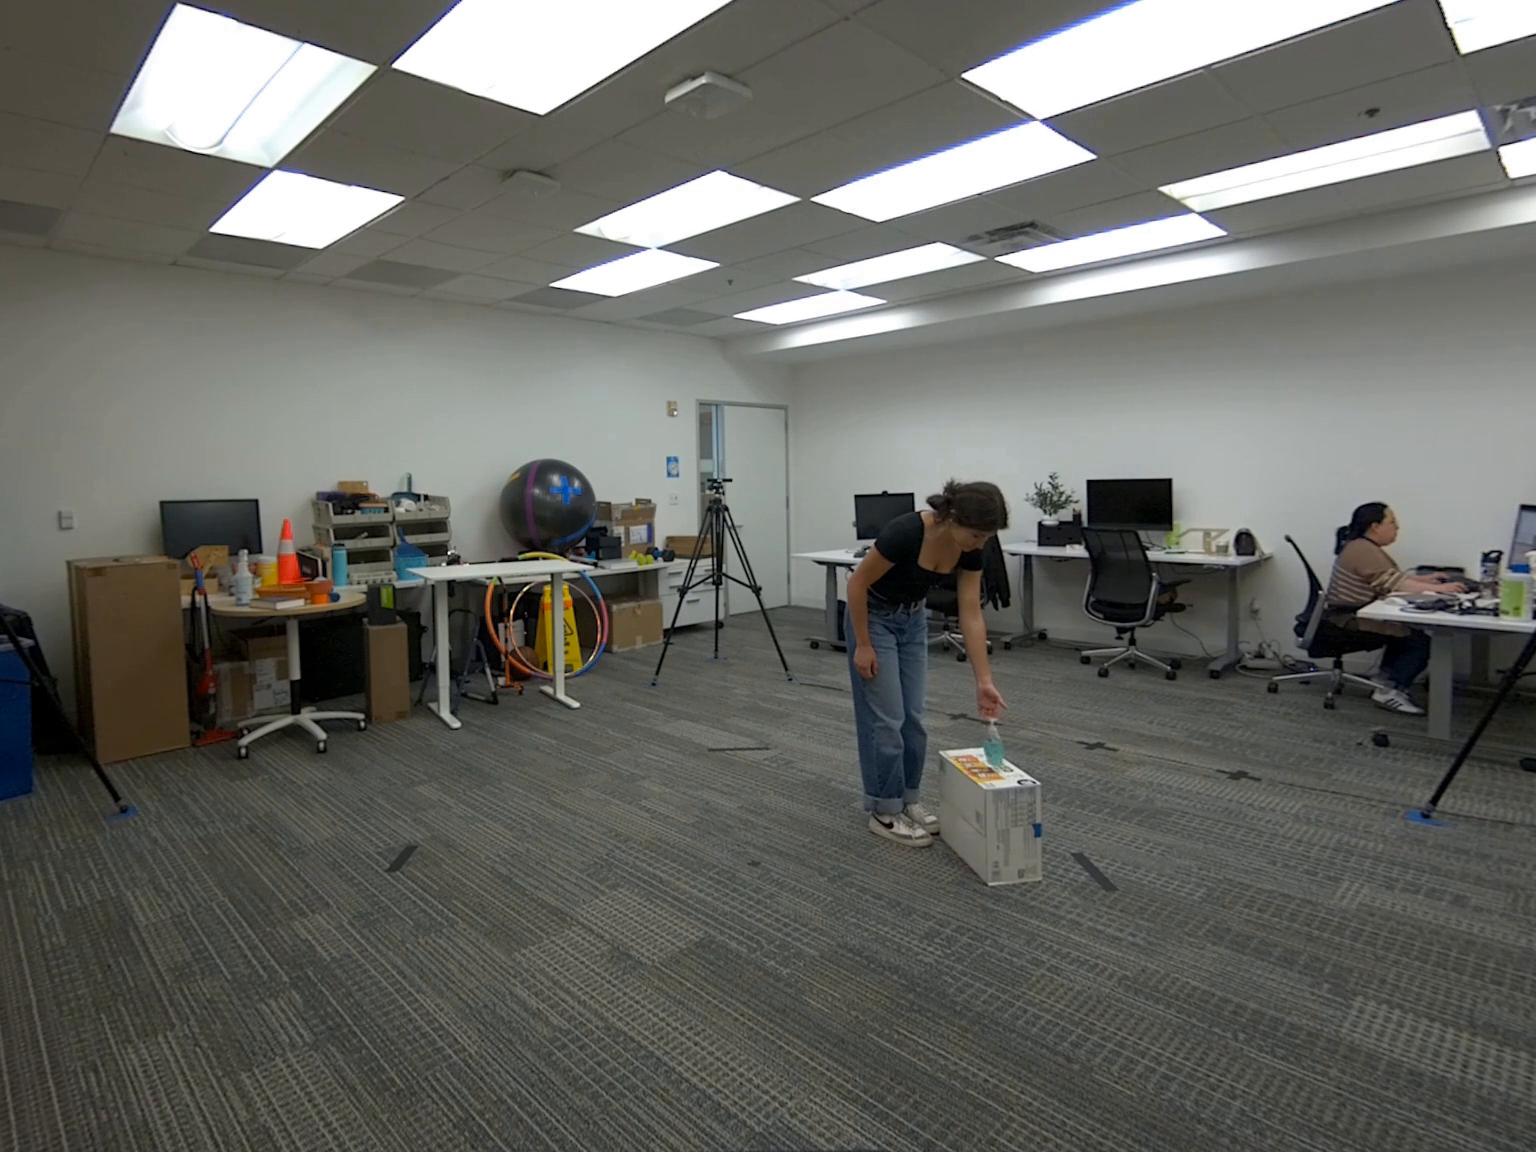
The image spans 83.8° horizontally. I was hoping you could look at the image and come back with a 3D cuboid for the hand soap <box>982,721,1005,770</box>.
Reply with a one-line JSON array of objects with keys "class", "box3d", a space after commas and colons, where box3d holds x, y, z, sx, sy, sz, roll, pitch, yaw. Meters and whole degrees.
[{"class": "hand soap", "box3d": [0.807, 0.587, 3.054, 0.042, 0.167, 0.087, -8, 9, -33]}]
